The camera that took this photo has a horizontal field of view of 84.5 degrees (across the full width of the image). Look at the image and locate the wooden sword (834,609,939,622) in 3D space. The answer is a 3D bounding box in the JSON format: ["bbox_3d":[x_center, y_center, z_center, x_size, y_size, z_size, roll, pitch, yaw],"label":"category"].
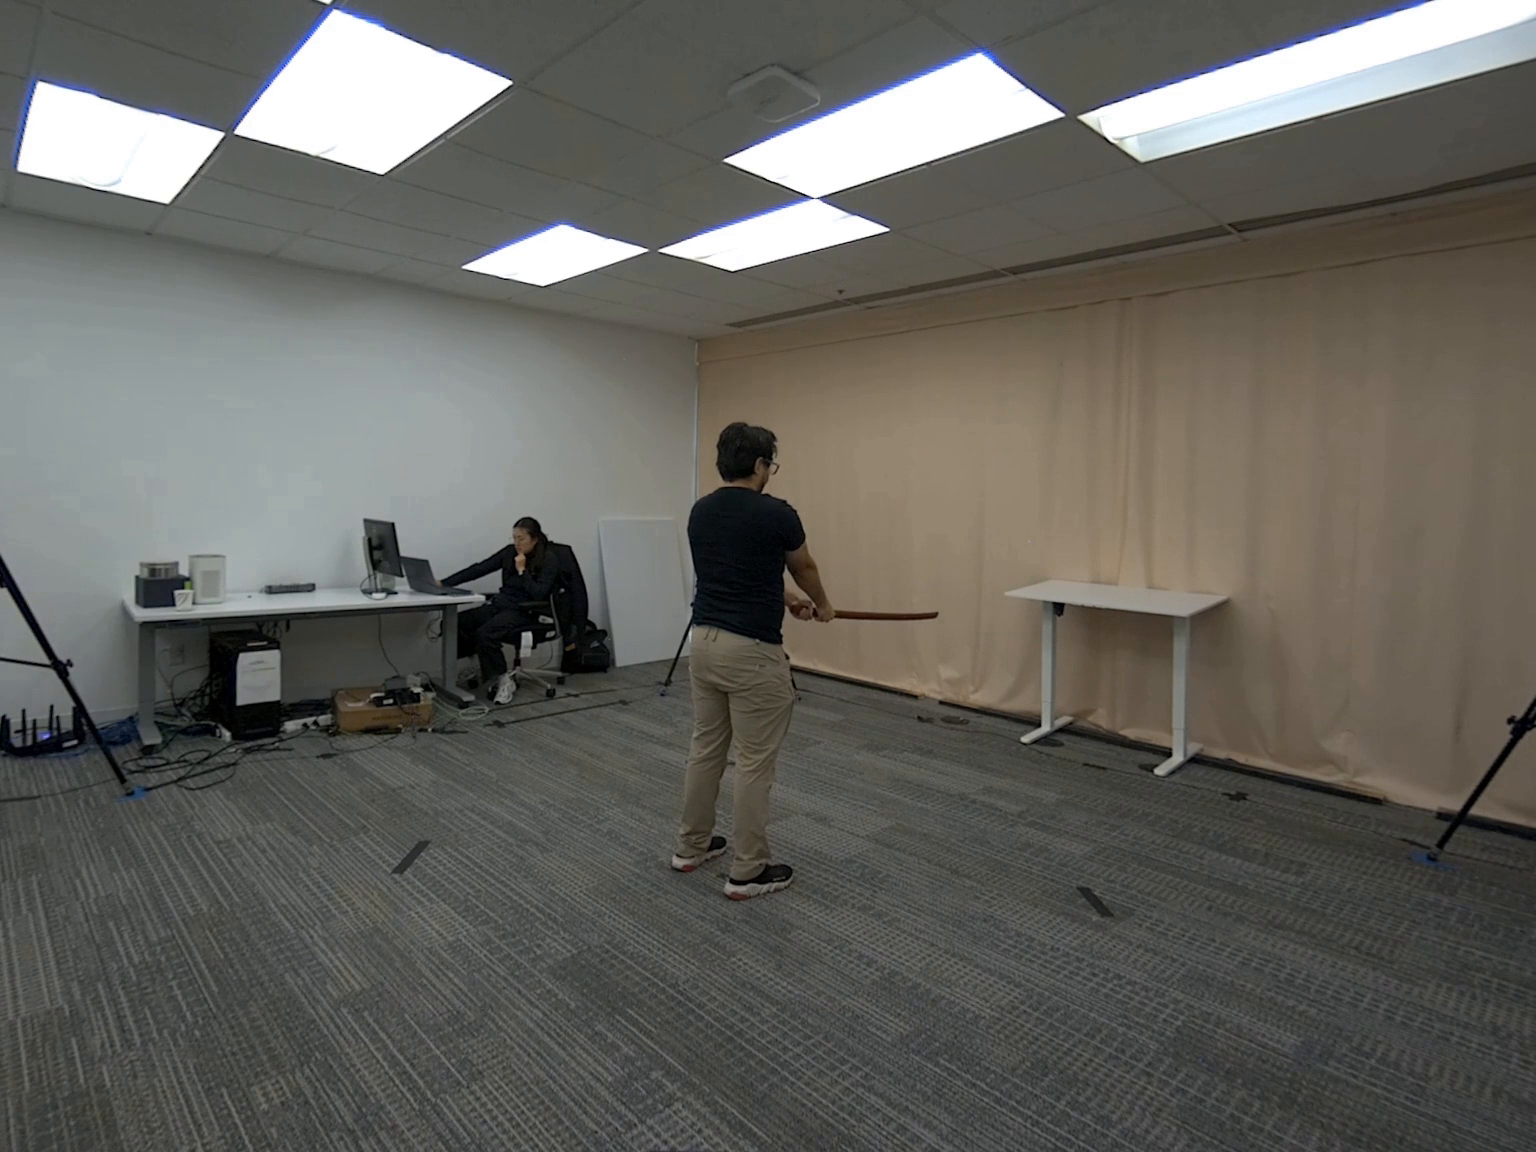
[{"bbox_3d":[0.458,0.167,3.632,0.999,0.024,0.053,3,37,-43],"label":"wooden sword"}]
